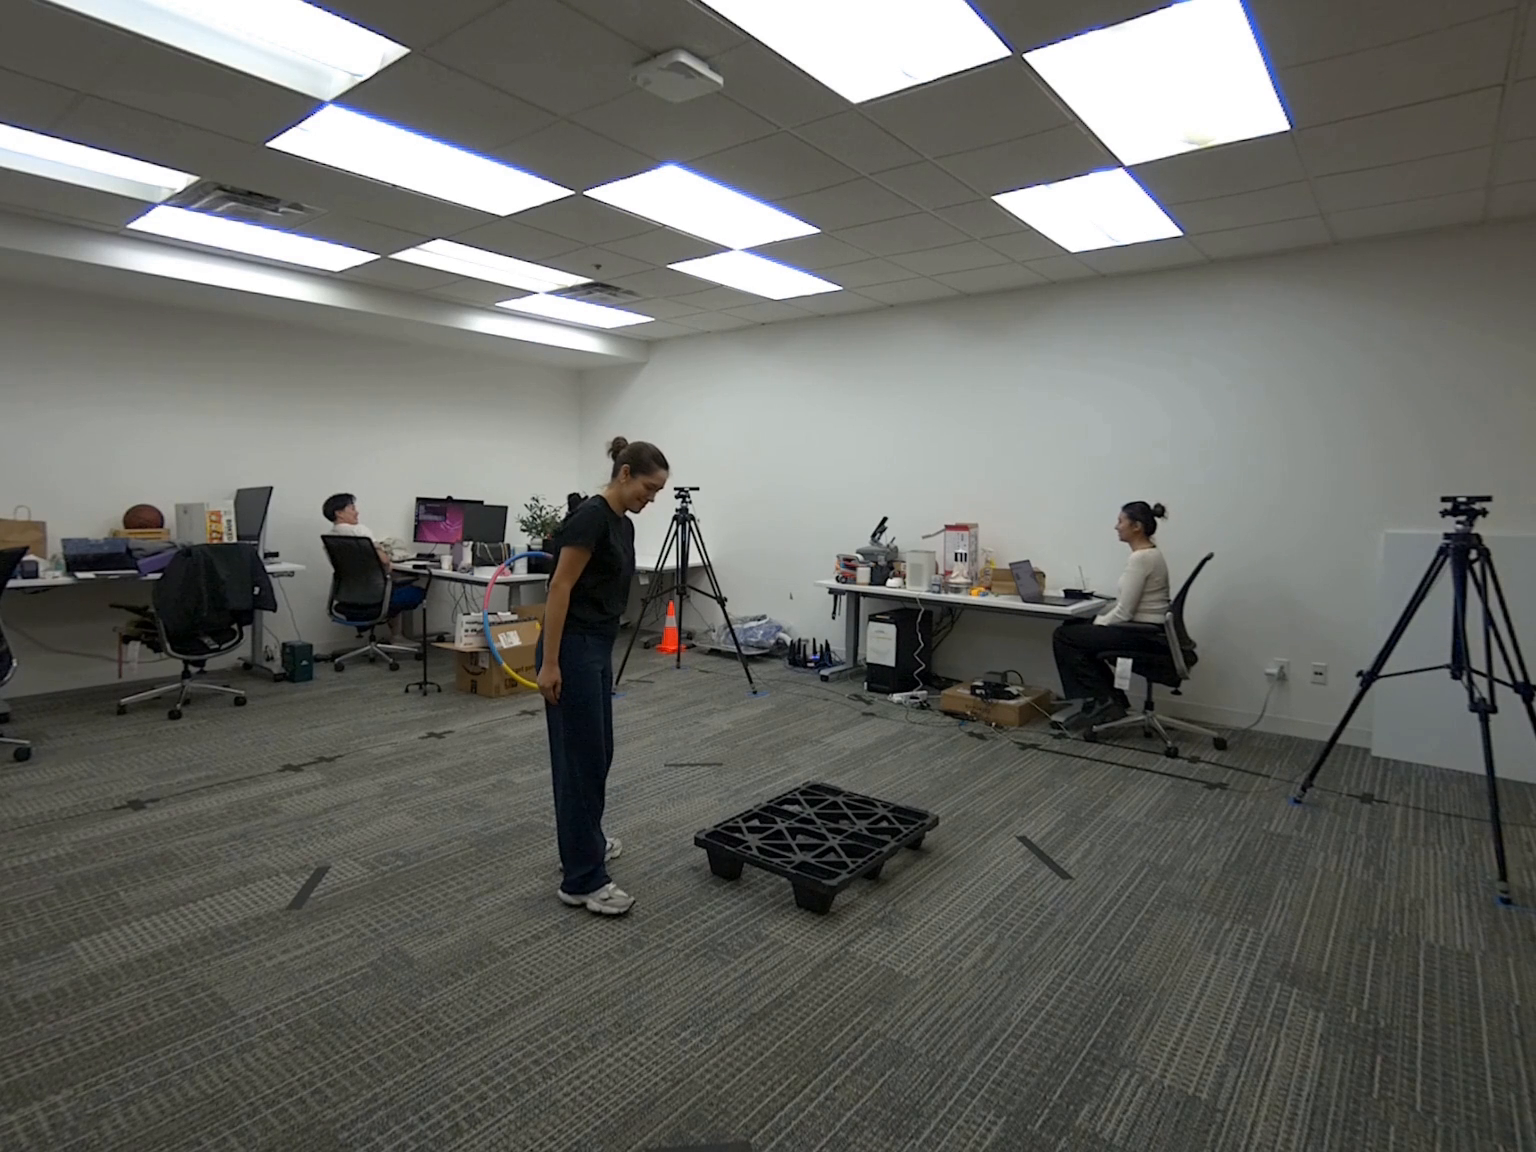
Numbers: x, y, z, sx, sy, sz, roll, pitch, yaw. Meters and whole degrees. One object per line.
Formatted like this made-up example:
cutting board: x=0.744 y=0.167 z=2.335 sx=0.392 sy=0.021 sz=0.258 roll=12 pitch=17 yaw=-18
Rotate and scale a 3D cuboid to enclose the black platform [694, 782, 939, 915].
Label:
black platform: x=0.209 y=0.998 z=3.208 sx=0.625 sy=0.143 sz=0.782 roll=5 pitch=6 yaw=38
